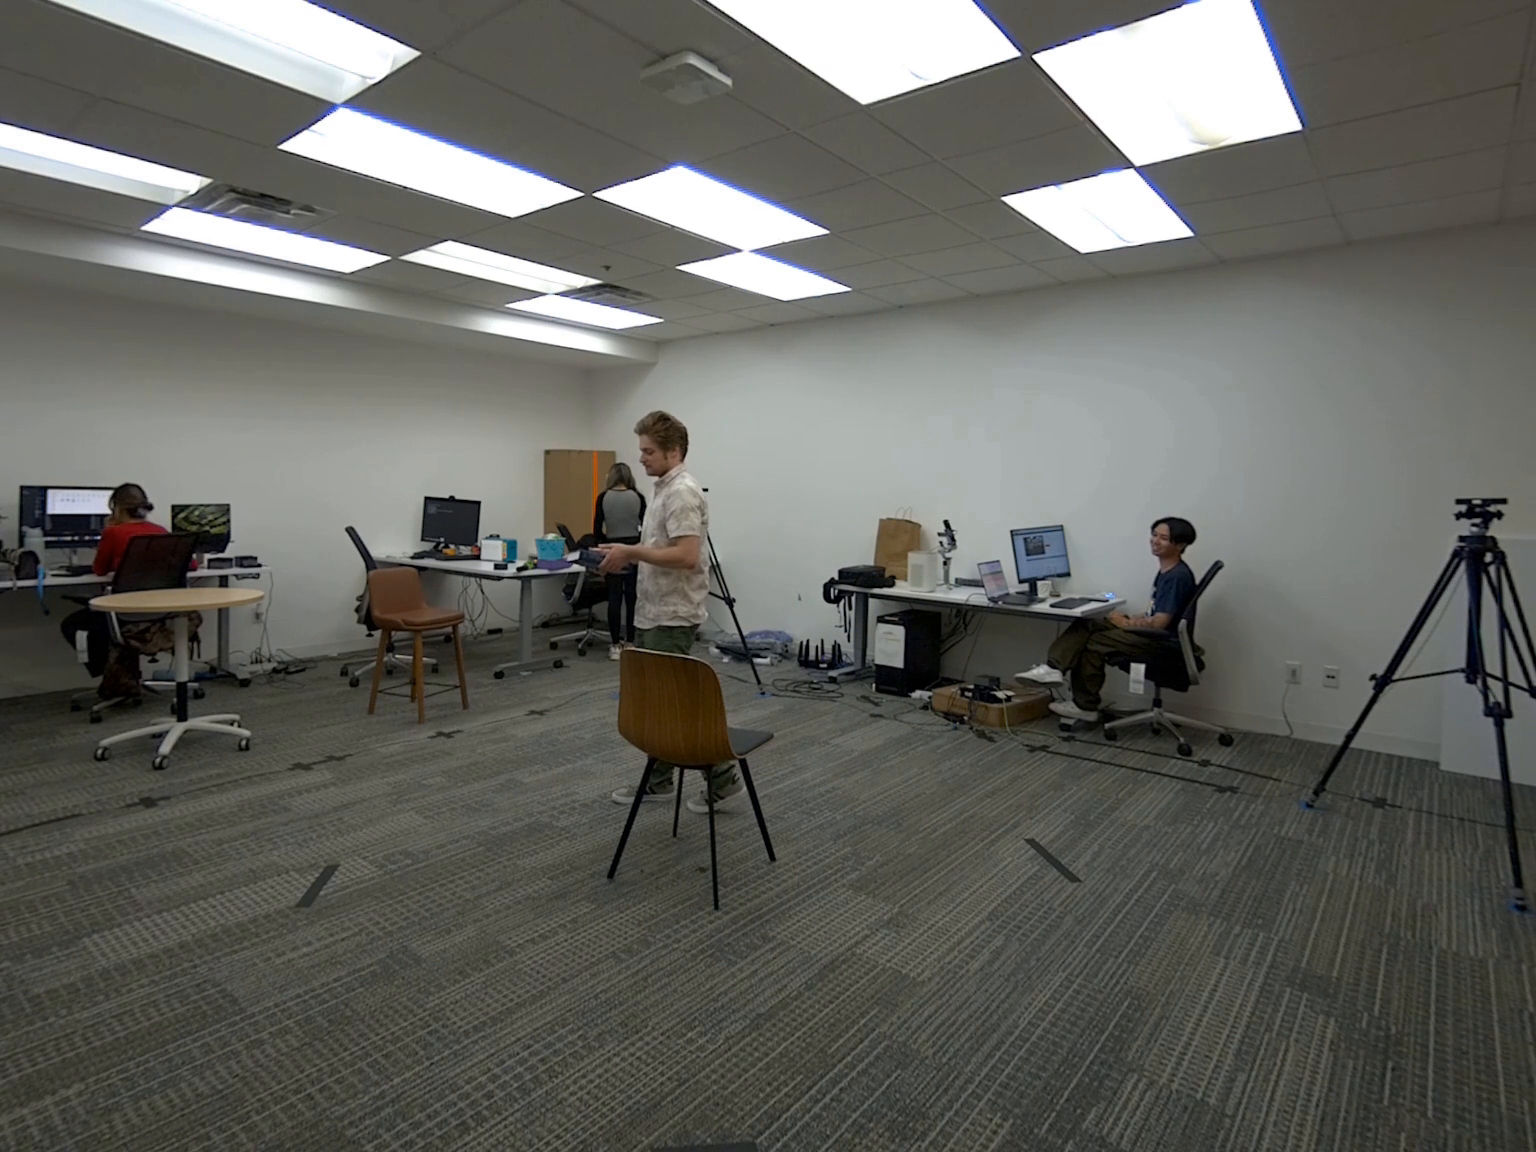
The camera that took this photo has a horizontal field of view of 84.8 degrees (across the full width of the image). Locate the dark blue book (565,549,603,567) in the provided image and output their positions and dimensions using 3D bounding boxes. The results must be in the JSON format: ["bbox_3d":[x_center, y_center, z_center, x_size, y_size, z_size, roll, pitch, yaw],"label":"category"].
[{"bbox_3d":[-0.713,-0.071,3.620,0.241,0.045,0.165,10,-10,-15],"label":"dark blue book"}]
